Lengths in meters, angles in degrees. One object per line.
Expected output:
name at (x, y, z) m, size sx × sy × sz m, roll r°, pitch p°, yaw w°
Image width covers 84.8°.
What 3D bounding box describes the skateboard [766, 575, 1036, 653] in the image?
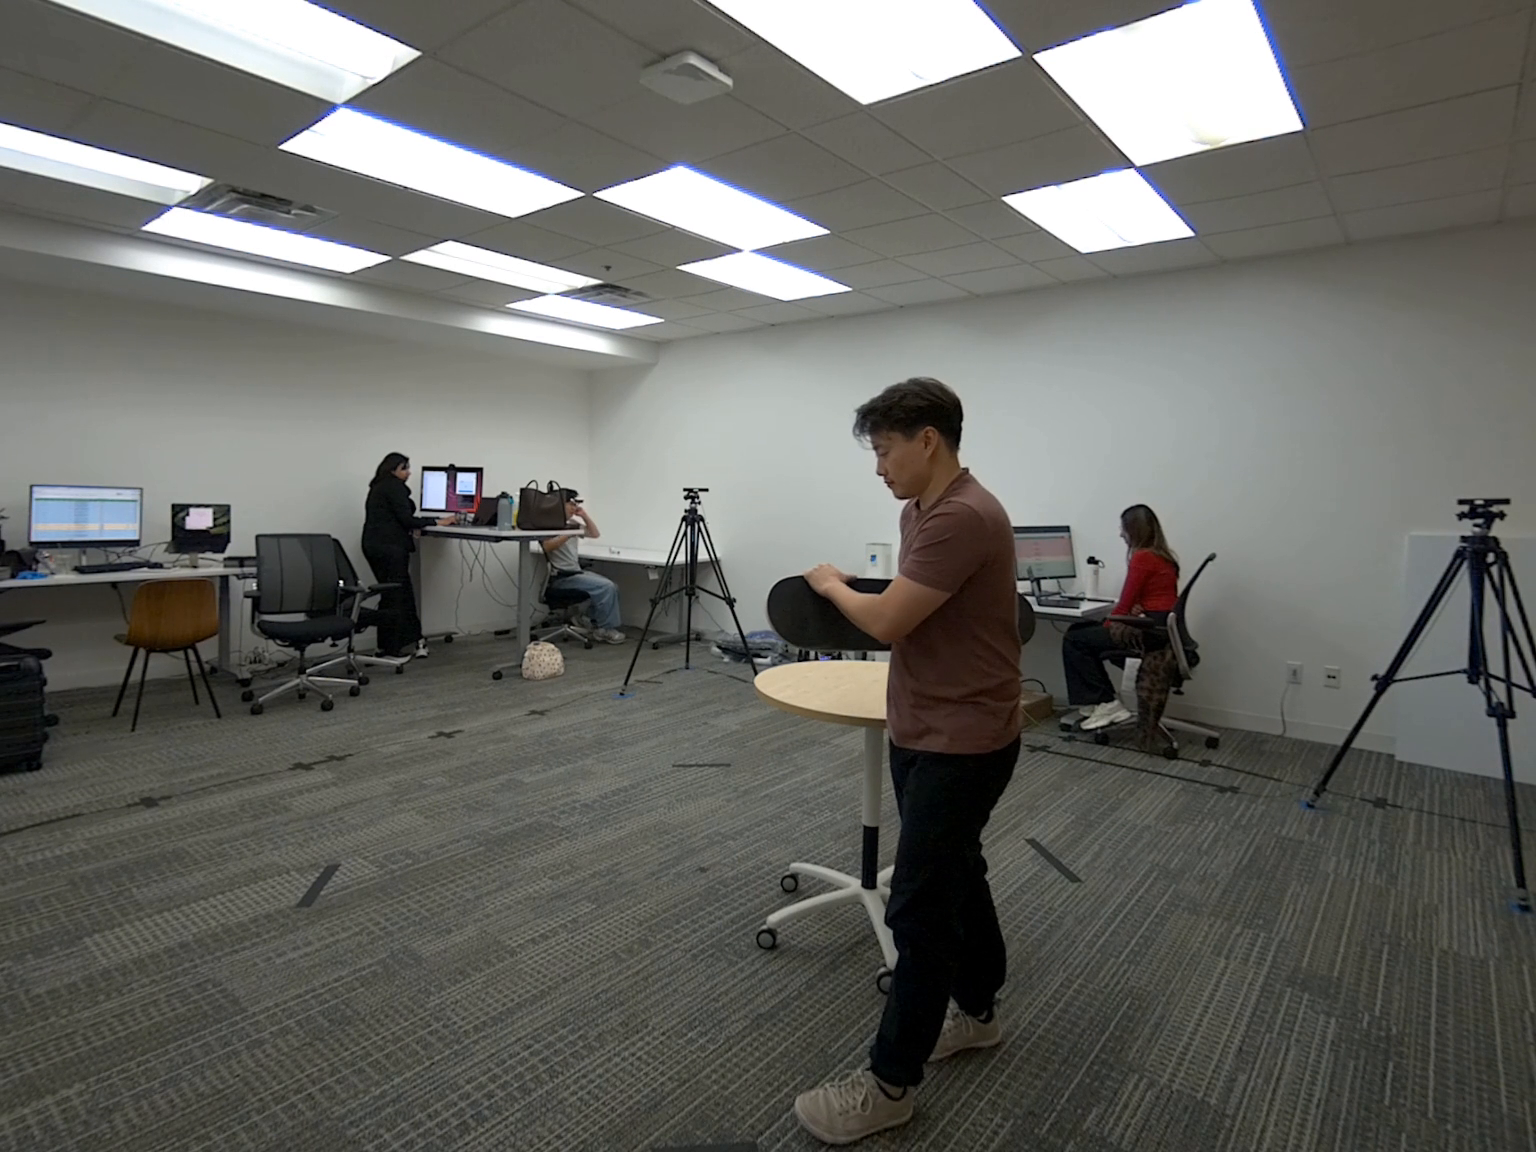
skateboard at (0.331, 0.115, 2.203) m, size 0.770 × 0.197 × 0.110 m, roll 3°, pitch -19°, yaw -19°
